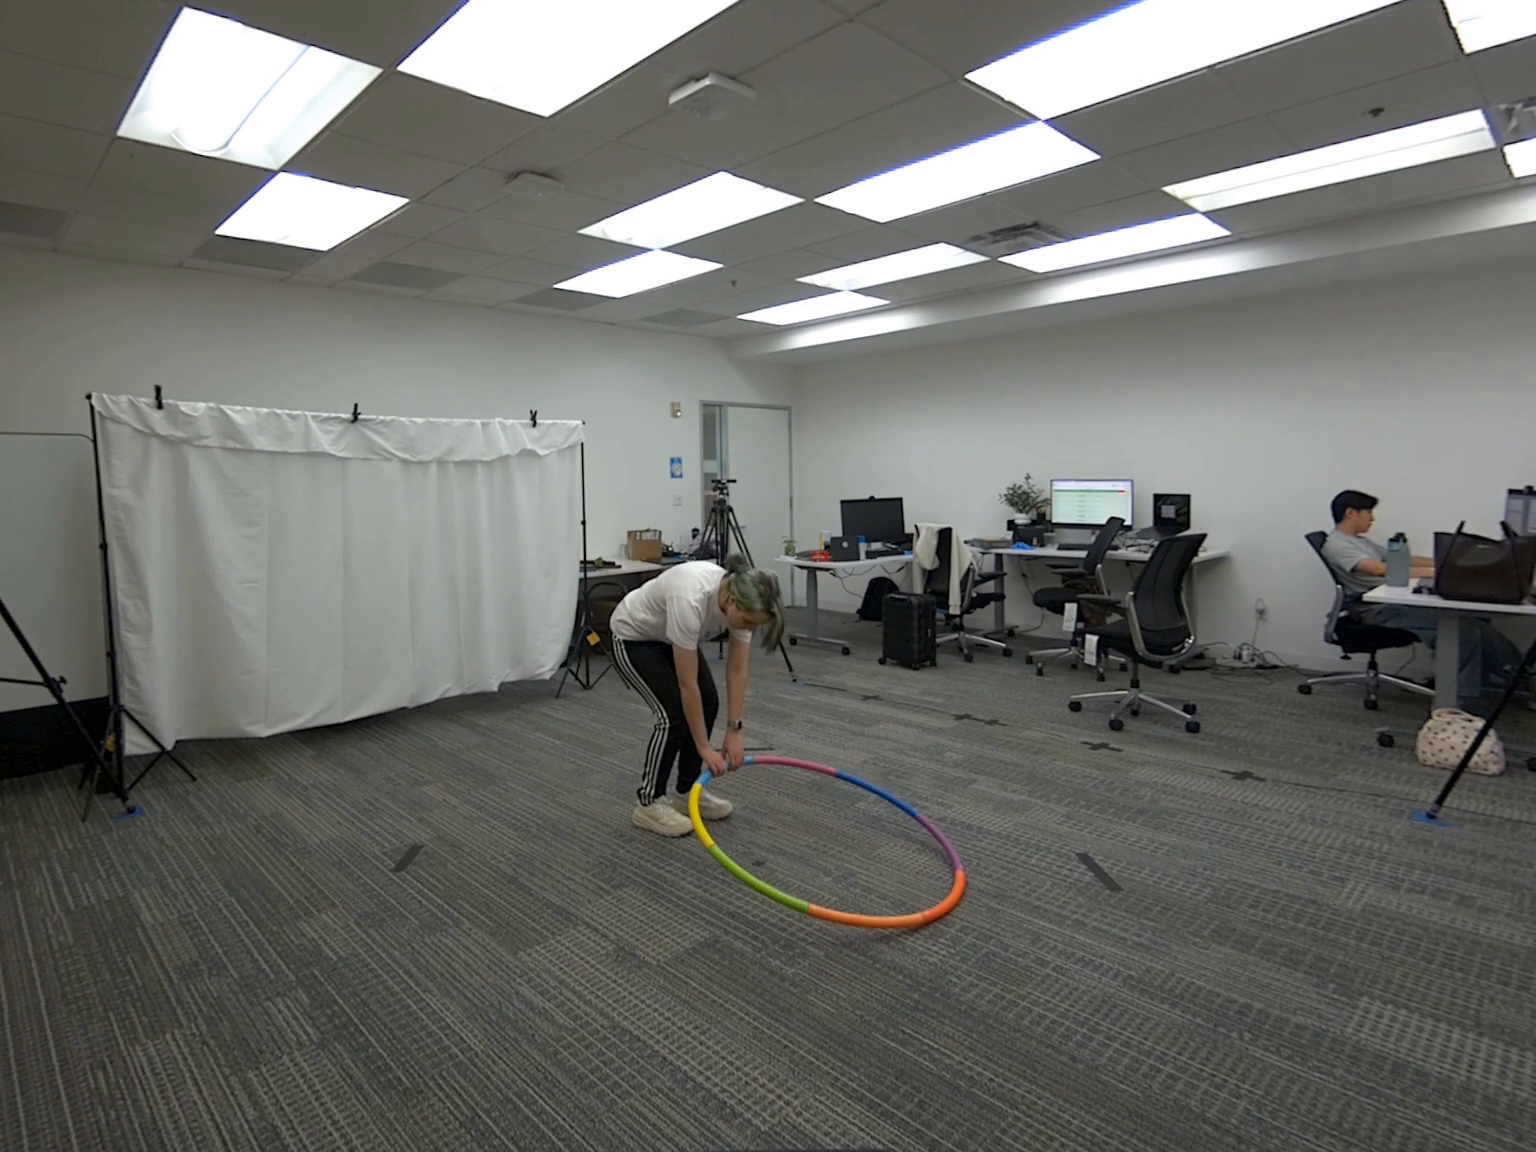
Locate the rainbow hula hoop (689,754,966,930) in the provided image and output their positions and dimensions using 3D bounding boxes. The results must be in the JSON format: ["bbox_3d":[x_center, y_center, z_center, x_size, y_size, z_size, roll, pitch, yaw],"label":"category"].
[{"bbox_3d":[0.211,0.894,3.035,0.975,0.035,0.992,11,14,-4],"label":"rainbow hula hoop"}]
